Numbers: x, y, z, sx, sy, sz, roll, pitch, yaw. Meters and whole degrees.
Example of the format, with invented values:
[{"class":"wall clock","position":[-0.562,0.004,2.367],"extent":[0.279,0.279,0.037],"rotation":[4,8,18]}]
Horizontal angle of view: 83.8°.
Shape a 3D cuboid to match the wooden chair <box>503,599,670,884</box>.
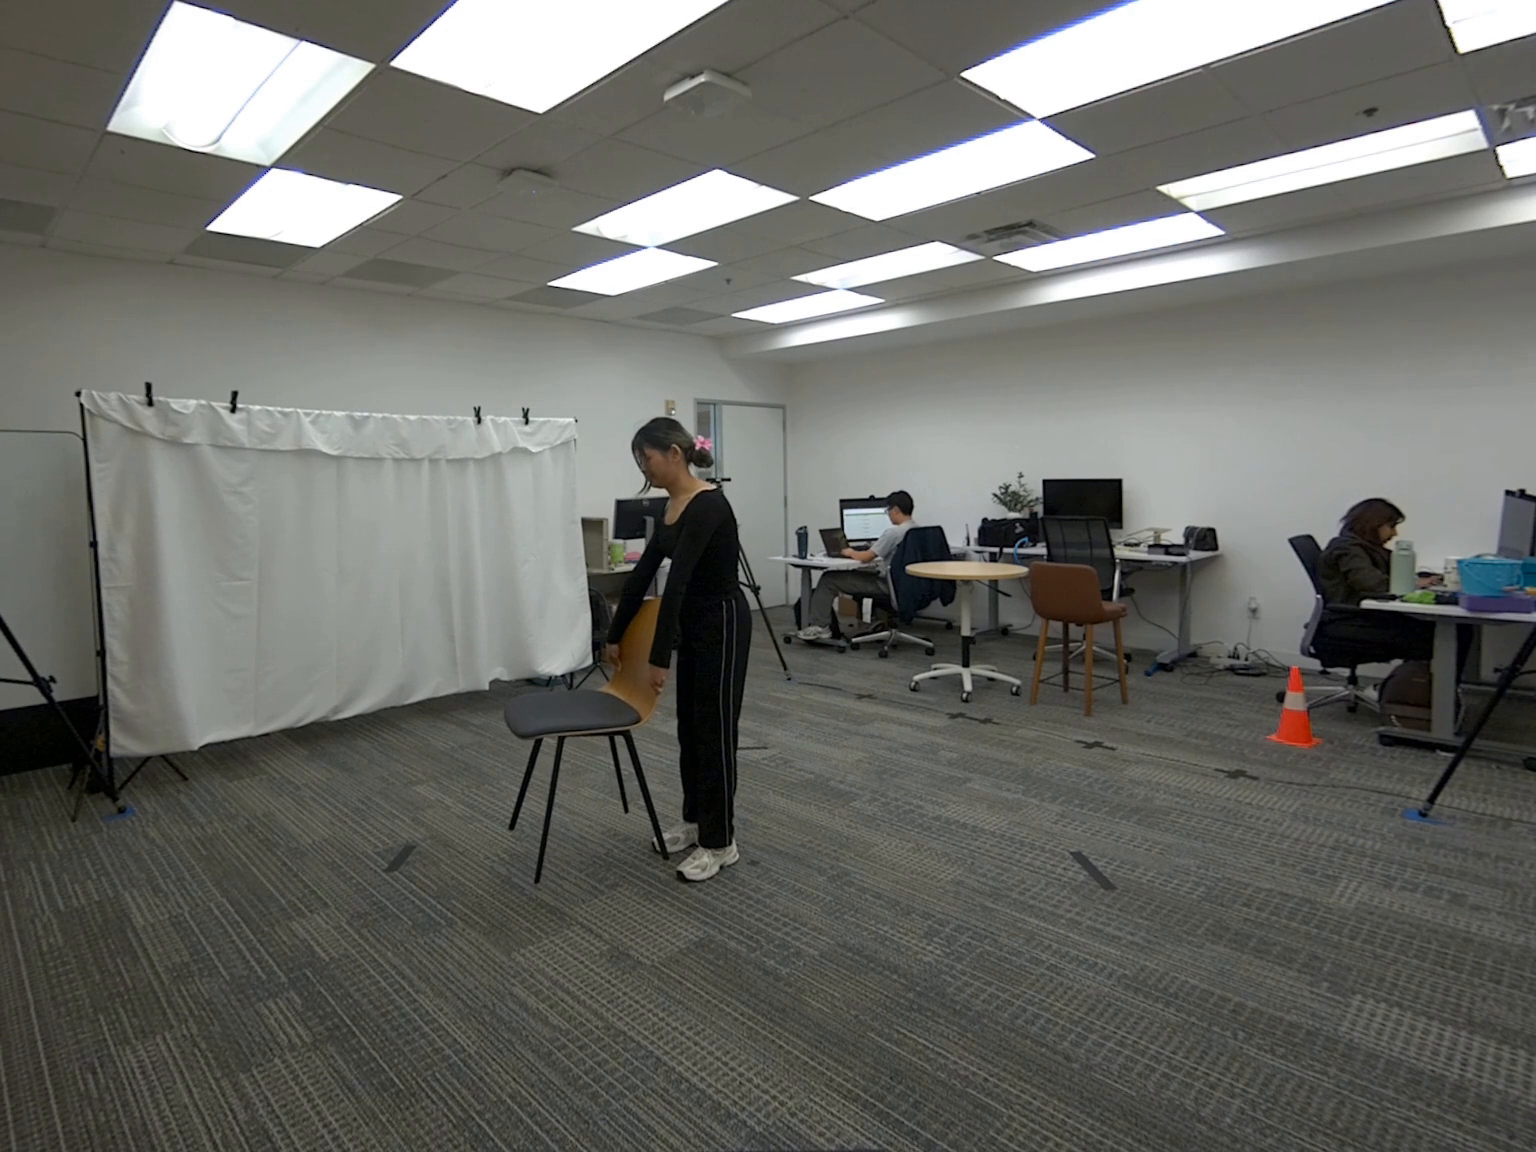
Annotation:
[{"class":"wooden chair","position":[-0.630,0.518,2.942],"extent":[0.511,0.876,0.490],"rotation":[4,2,-26]}]
